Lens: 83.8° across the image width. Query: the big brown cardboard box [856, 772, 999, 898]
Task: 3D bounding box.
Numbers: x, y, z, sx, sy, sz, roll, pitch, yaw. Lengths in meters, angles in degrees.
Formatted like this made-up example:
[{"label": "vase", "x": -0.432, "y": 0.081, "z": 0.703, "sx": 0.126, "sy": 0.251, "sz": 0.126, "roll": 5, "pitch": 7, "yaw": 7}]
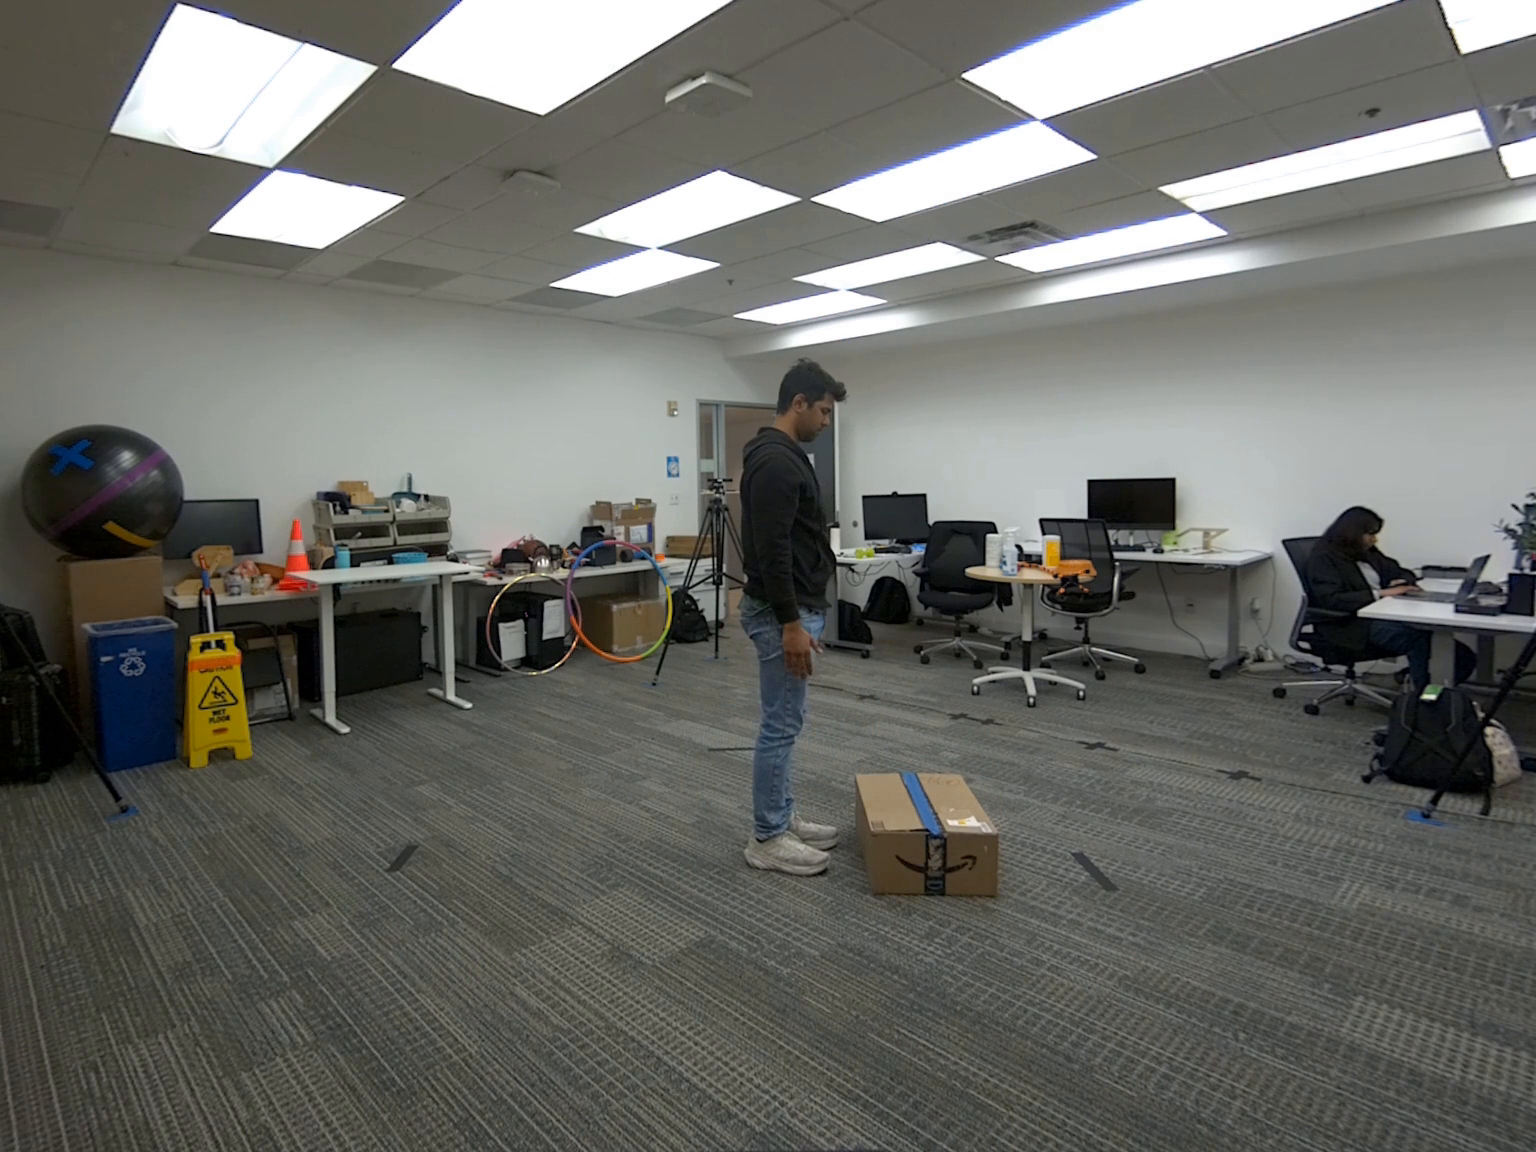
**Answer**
[{"label": "big brown cardboard box", "x": 0.556, "y": 0.920, "z": 3.107, "sx": 0.418, "sy": 0.232, "sz": 0.590, "roll": -1, "pitch": 5, "yaw": 1}]
